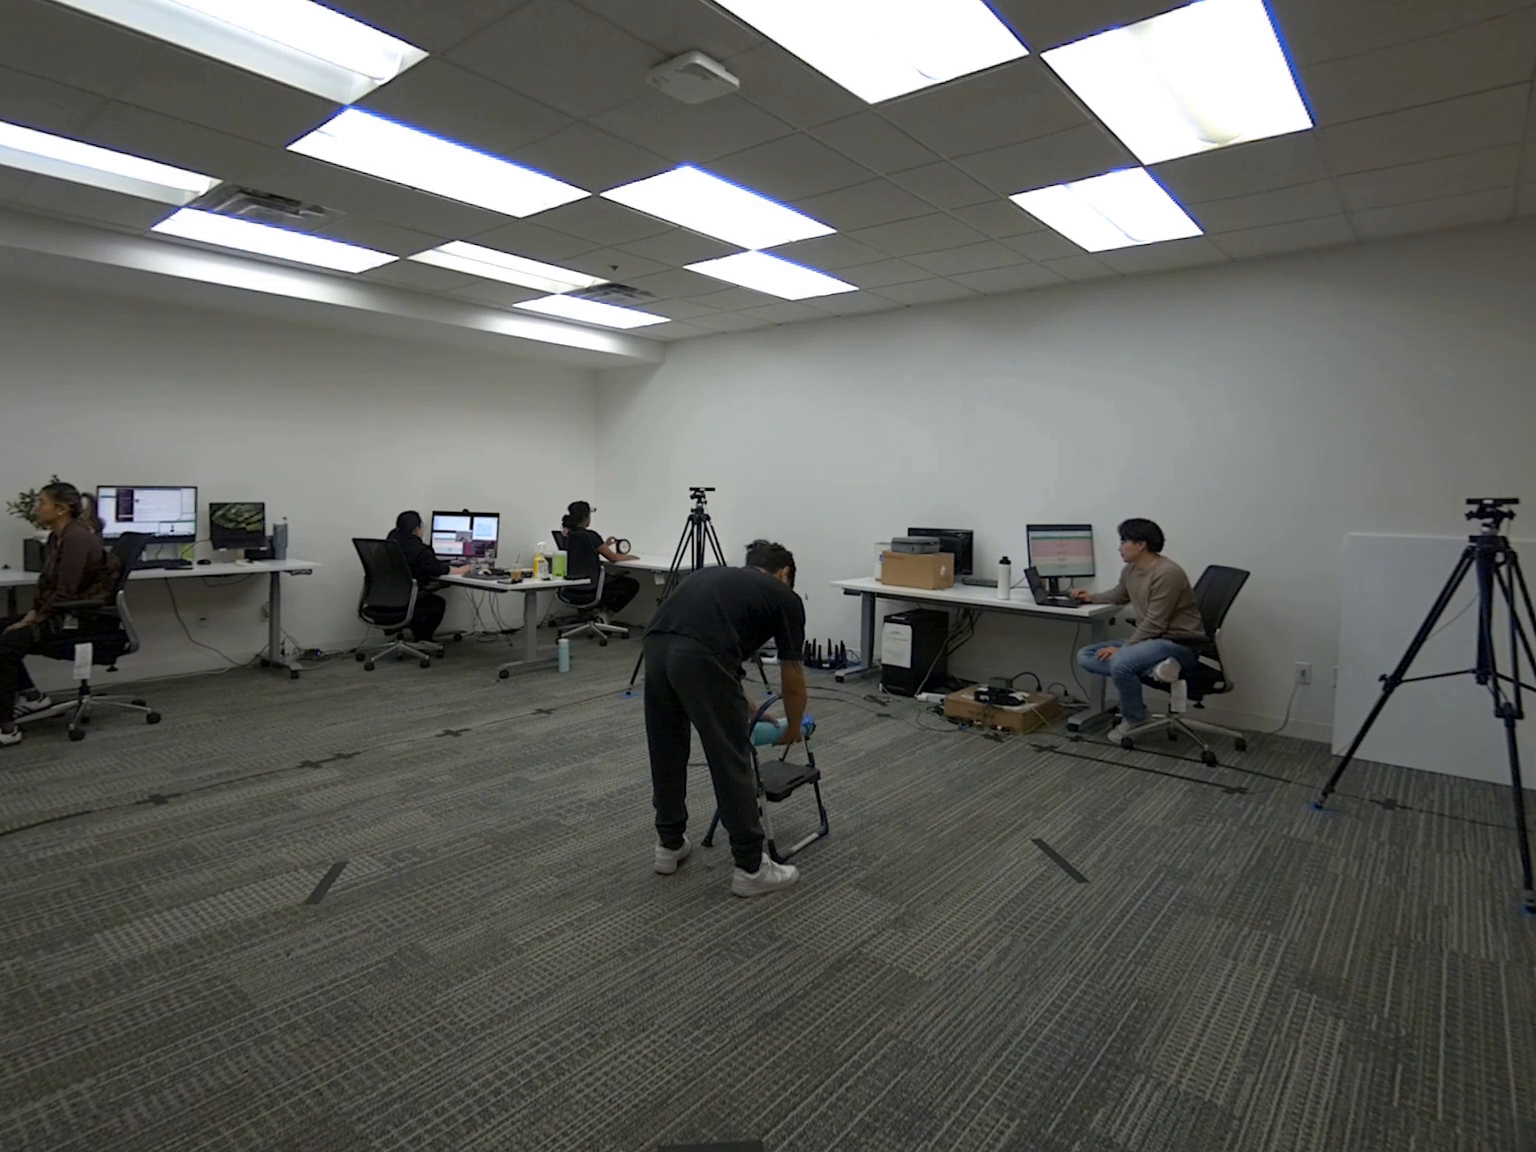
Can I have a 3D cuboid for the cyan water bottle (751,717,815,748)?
[{"bbox_3d":[0.044,0.604,3.339,0.277,0.092,0.095,-5,6,-24],"label":"cyan water bottle"}]
